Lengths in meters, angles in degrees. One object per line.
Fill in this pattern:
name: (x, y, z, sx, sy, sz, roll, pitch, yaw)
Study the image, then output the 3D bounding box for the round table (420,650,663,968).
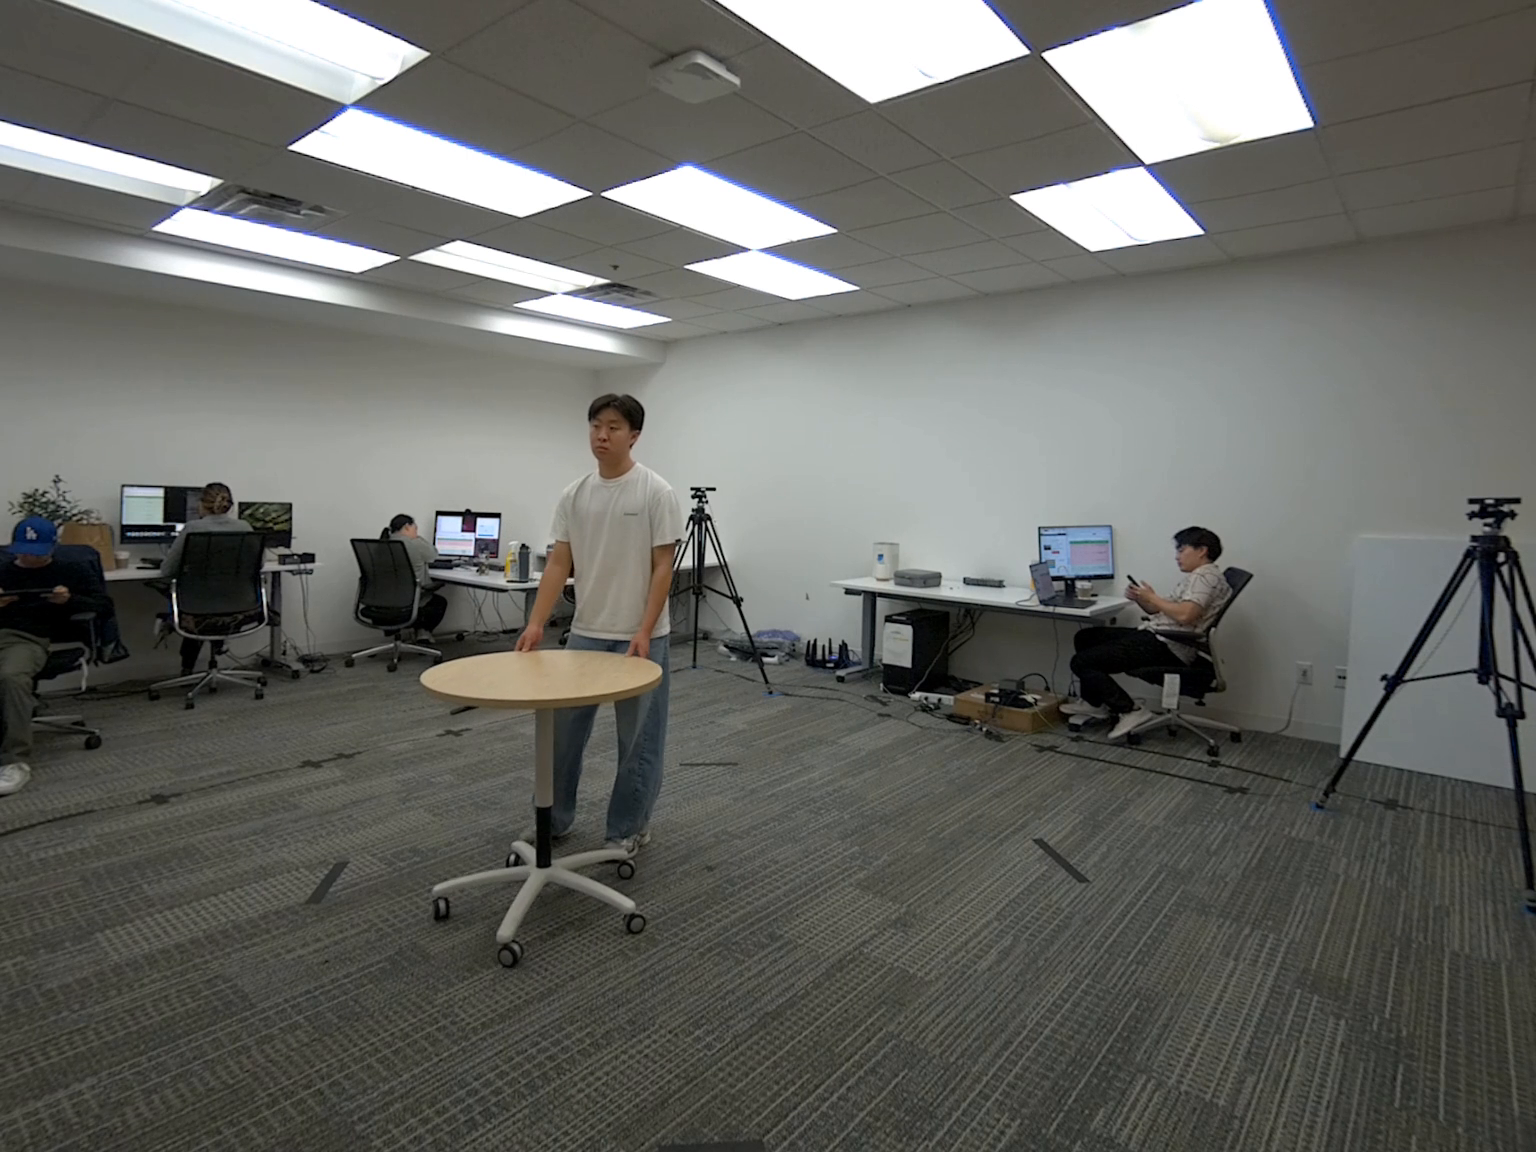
round table: (-0.733, 0.700, 2.784, 0.763, 0.792, 0.767, 0, 4, -2)
